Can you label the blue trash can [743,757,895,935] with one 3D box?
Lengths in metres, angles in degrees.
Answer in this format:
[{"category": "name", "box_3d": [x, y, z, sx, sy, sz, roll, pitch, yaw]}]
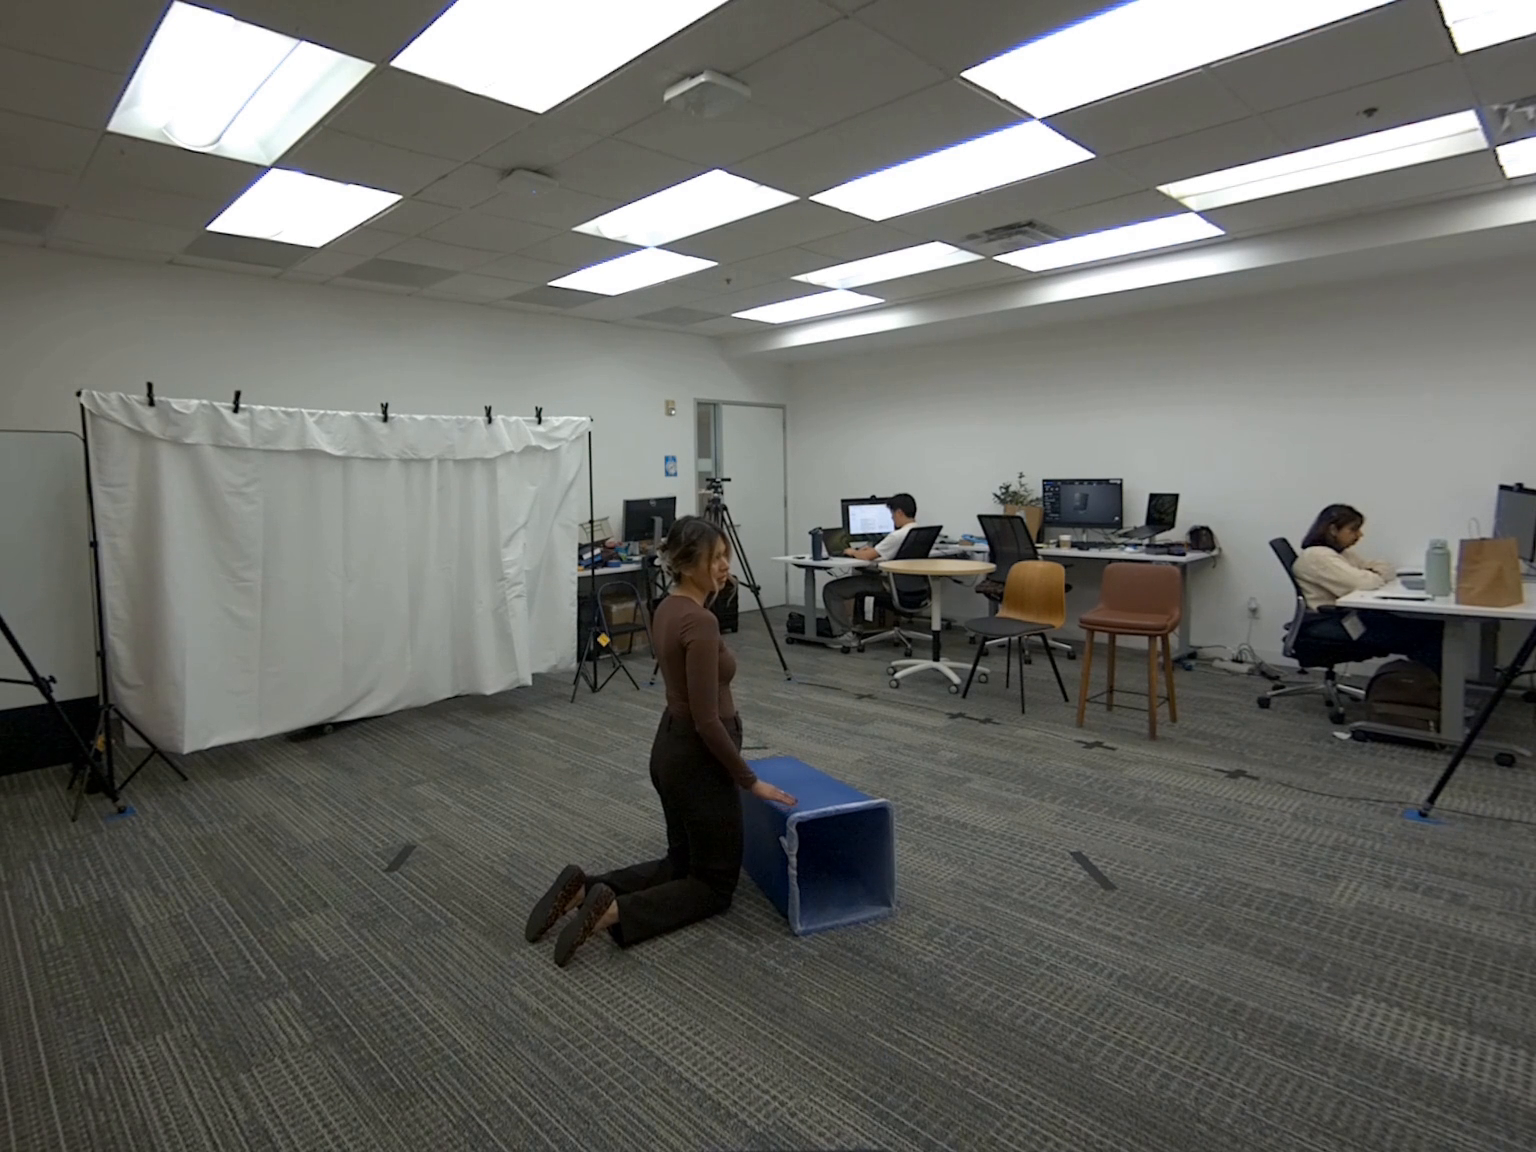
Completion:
[{"category": "blue trash can", "box_3d": [0.105, 0.879, 2.992, 0.367, 0.377, 0.729, -4, 5, -21]}]
